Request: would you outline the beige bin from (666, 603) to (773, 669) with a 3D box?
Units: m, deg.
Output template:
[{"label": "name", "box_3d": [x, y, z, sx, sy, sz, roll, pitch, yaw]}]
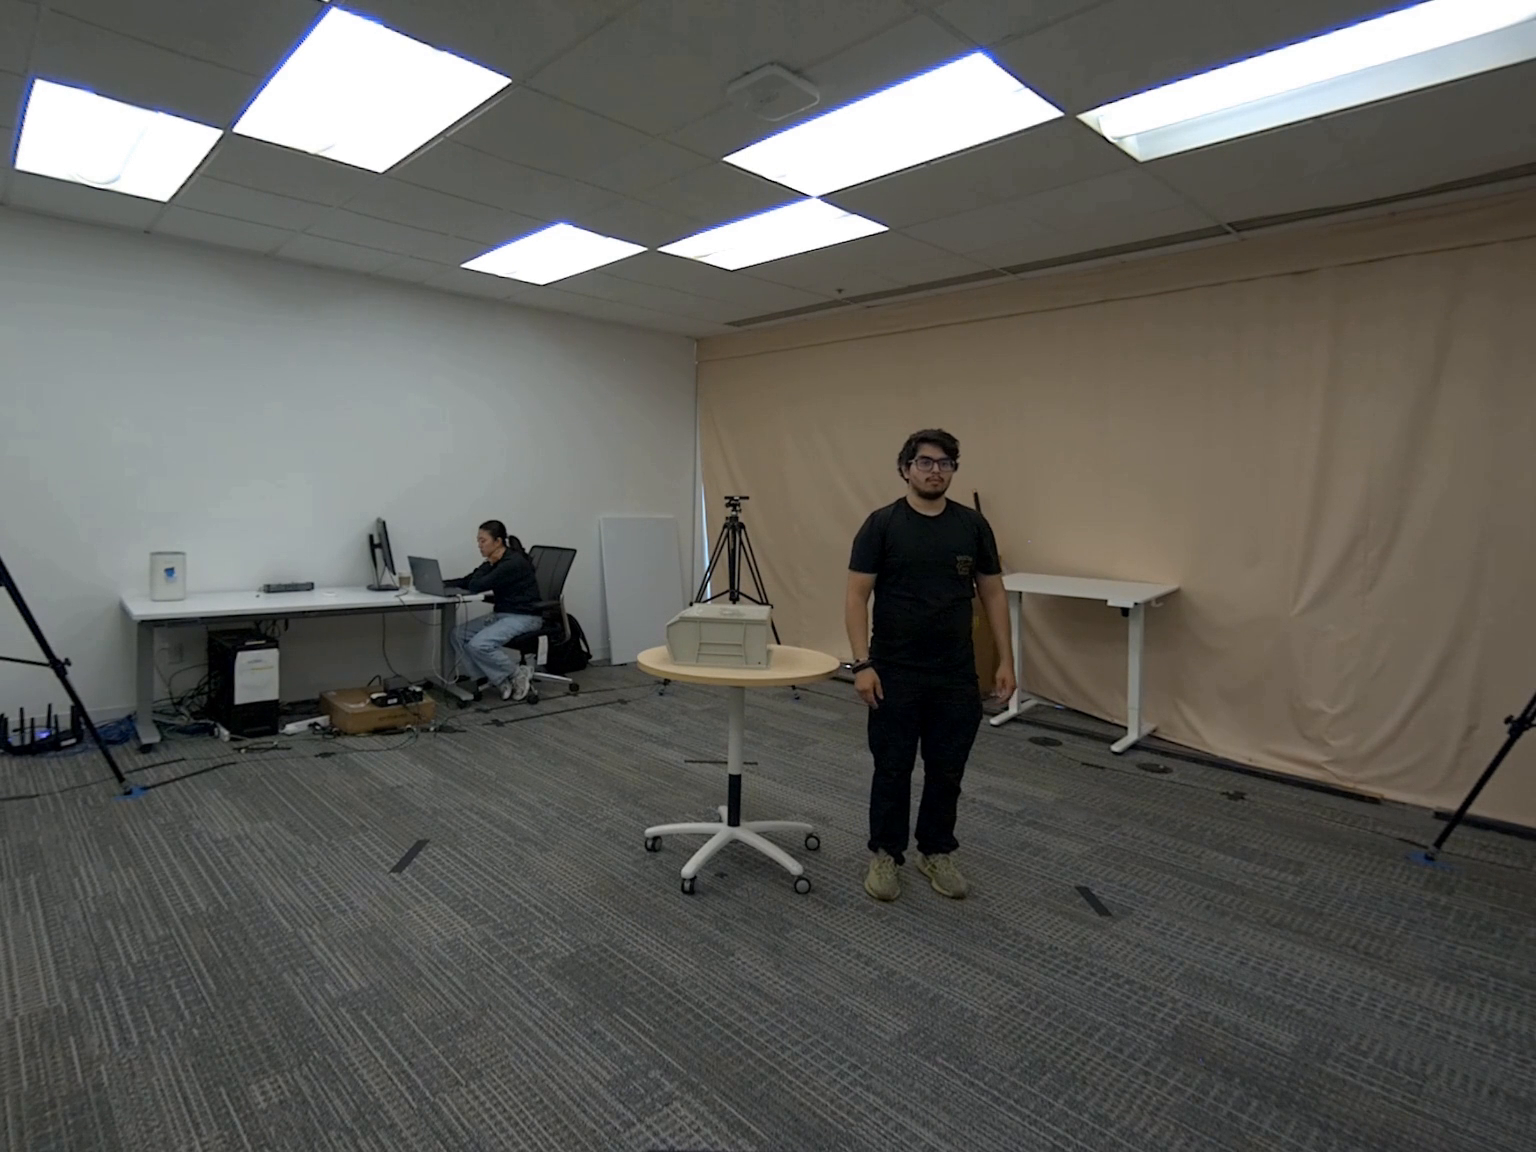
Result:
[{"label": "beige bin", "box_3d": [-0.182, 0.216, 3.200, 0.378, 0.188, 0.422, 2, 5, 3]}]
